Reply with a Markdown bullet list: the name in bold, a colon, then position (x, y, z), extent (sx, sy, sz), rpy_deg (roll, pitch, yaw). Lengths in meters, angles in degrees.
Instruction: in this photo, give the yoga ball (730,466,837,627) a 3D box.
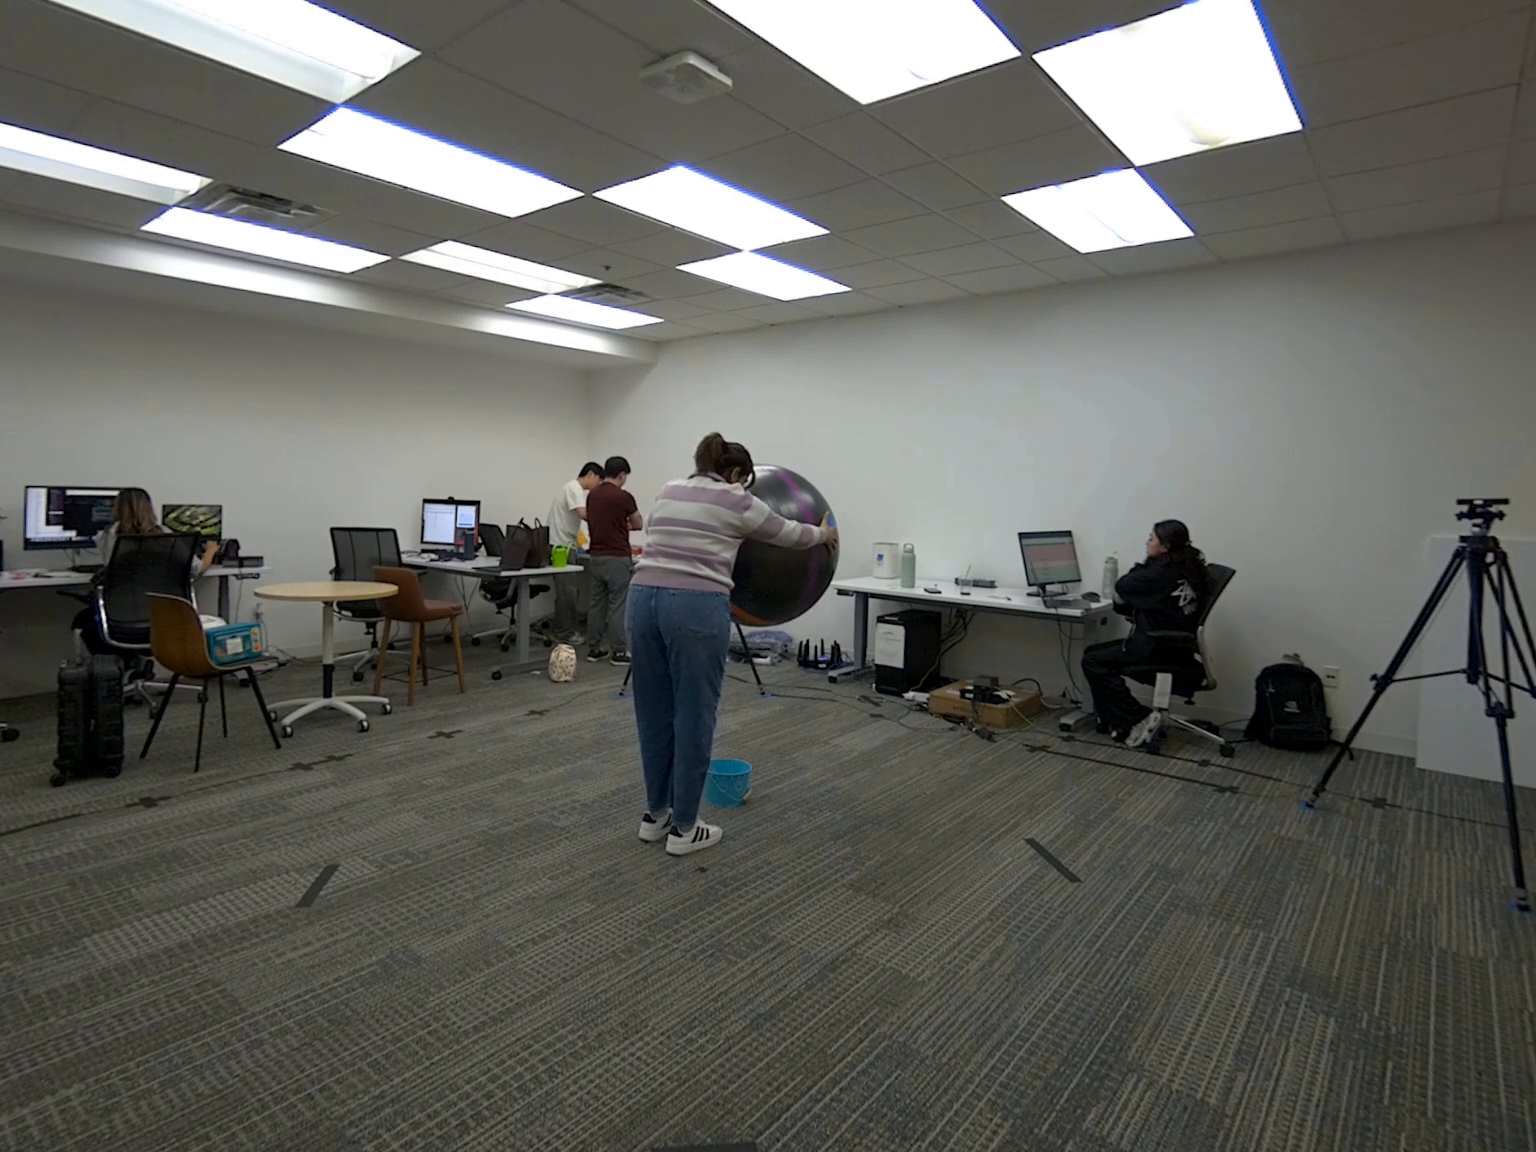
- **yoga ball**: position (-0.051, -0.140, 3.985), extent (0.757, 0.756, 0.761), rpy_deg (1, 4, -2)
